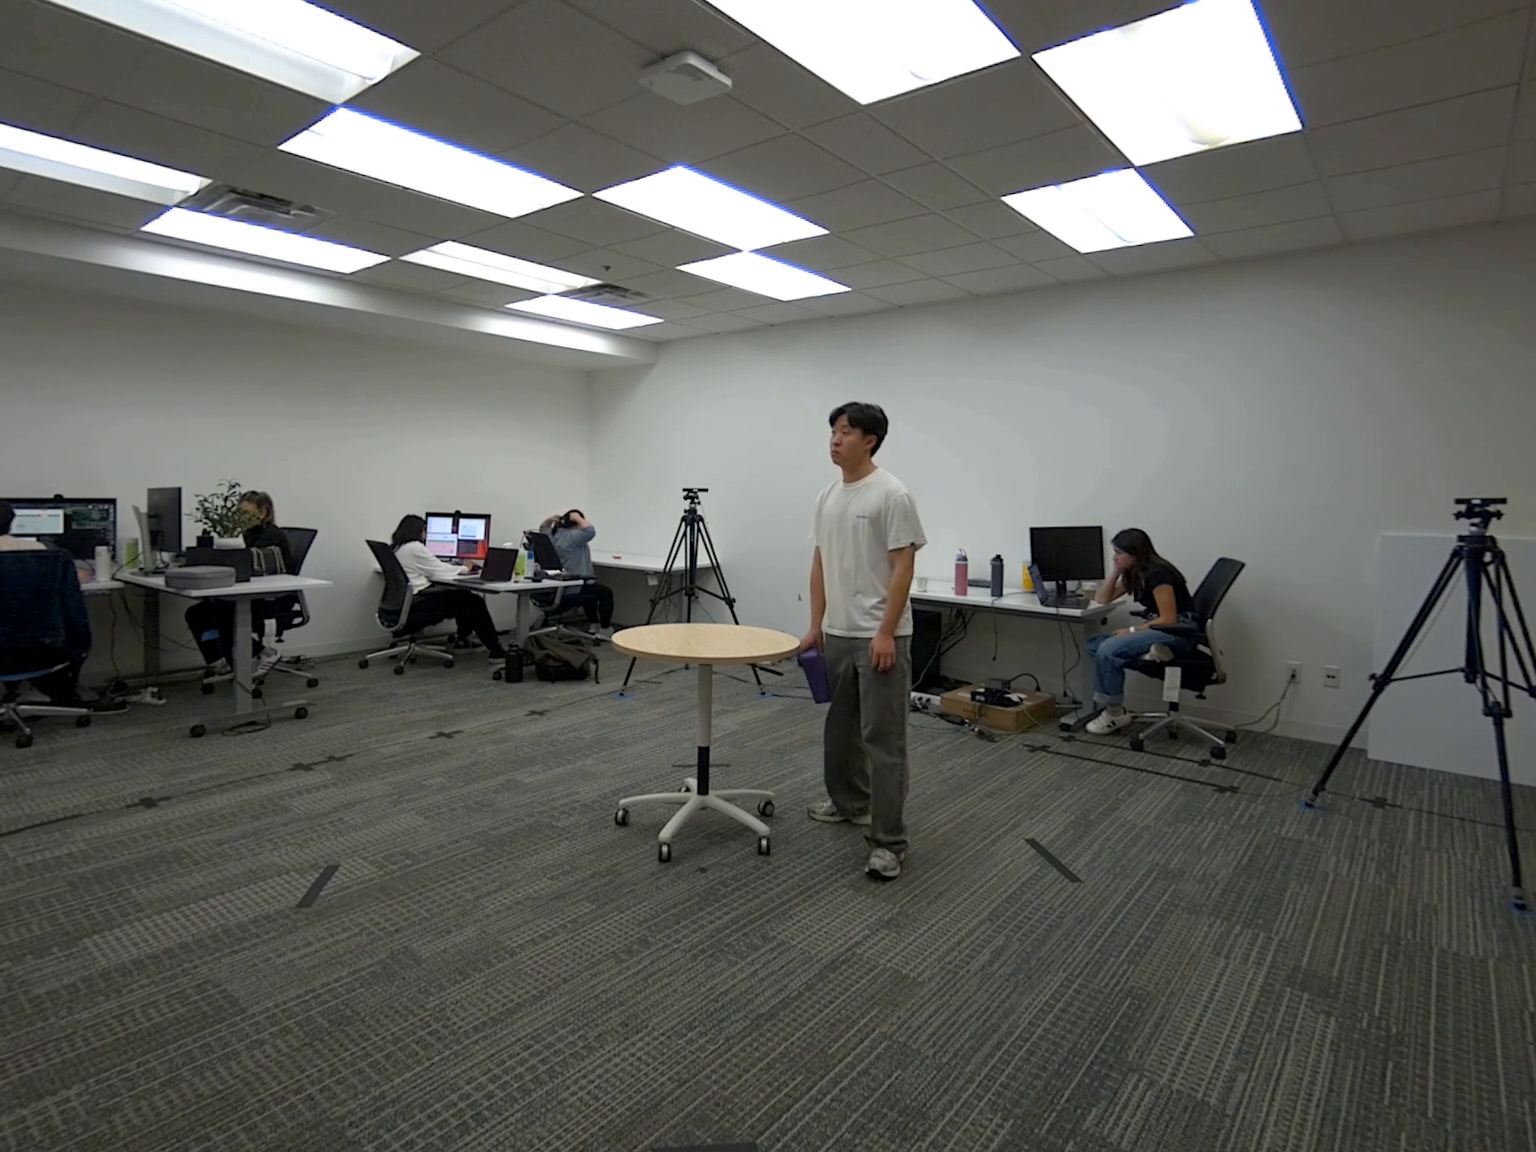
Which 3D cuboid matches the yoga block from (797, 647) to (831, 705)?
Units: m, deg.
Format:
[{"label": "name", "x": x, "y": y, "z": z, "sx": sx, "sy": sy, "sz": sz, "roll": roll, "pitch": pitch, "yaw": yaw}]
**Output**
[{"label": "yoga block", "x": 0.200, "y": 0.396, "z": 3.563, "sx": 0.077, "sy": 0.226, "sz": 0.149, "roll": -14, "pitch": 14, "yaw": 16}]
